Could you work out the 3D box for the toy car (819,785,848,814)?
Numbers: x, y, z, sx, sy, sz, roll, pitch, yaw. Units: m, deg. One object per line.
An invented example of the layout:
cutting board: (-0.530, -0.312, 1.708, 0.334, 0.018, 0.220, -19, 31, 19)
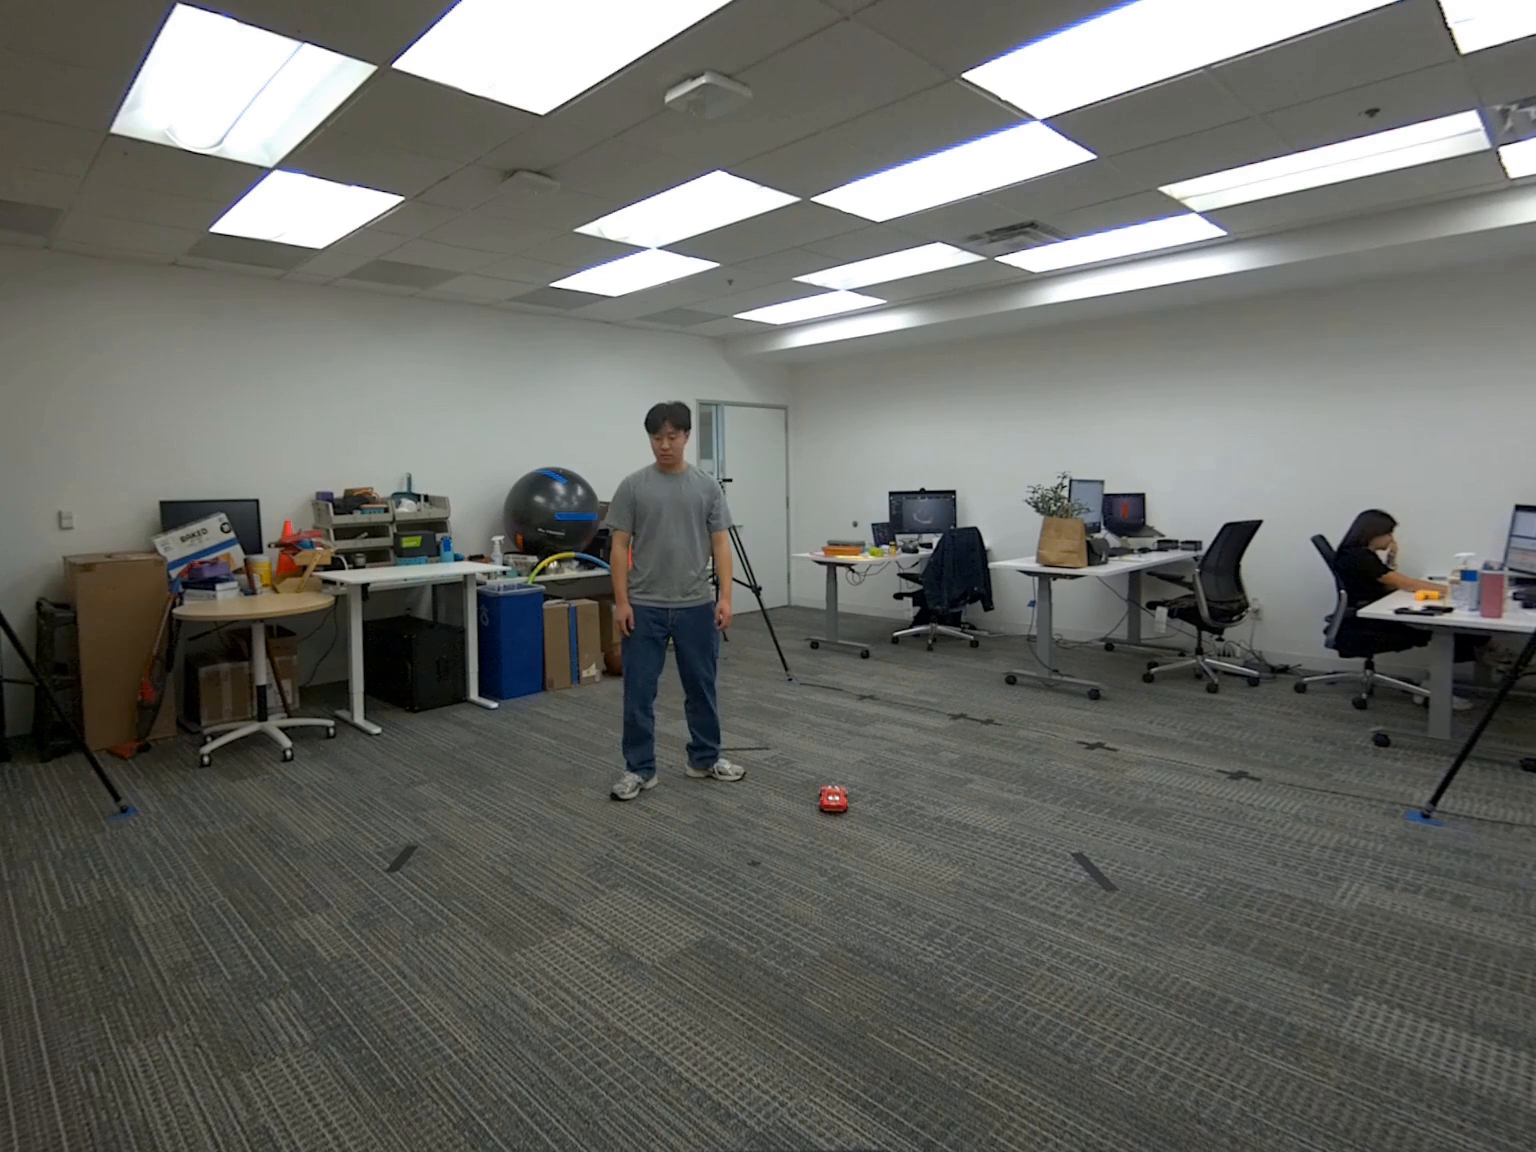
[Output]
toy car: (0.283, 0.951, 3.635, 0.131, 0.084, 0.252, 0, -5, 4)
